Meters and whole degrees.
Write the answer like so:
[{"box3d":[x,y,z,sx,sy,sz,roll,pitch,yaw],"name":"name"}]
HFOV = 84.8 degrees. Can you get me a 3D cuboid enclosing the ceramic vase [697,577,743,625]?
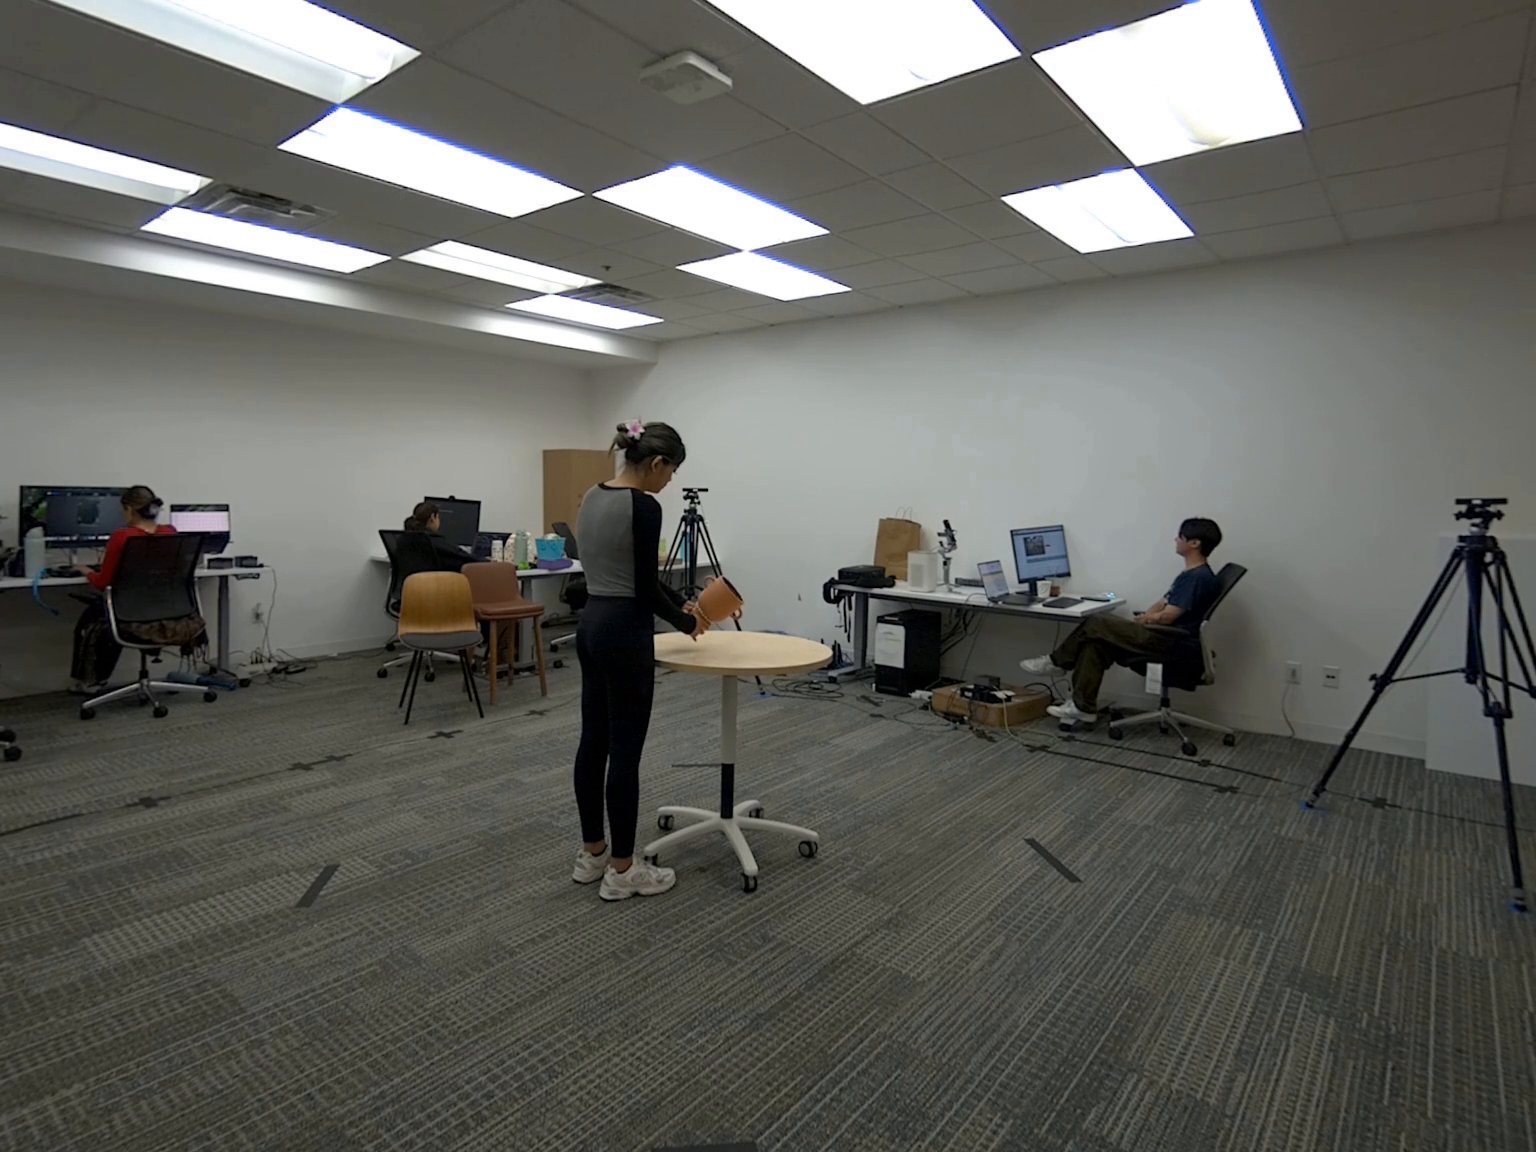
[{"box3d":[-0.221,0.116,3.129,0.220,0.165,0.129,-40,-34,8],"name":"ceramic vase"}]
